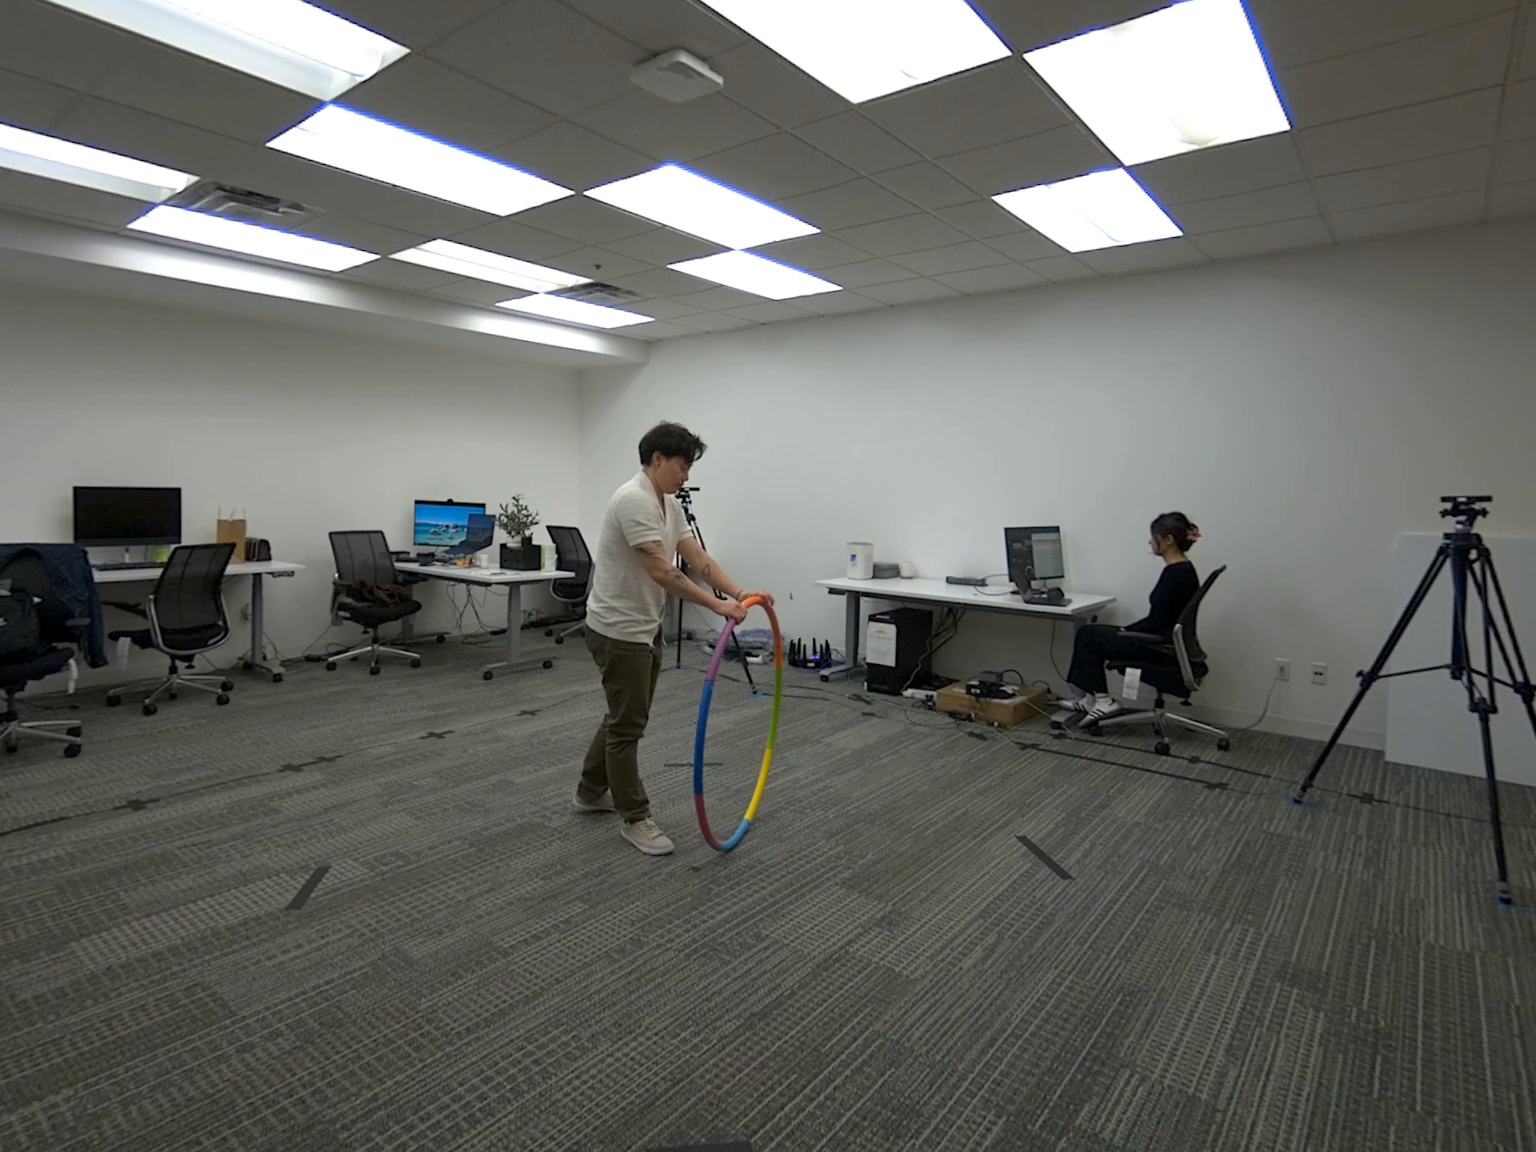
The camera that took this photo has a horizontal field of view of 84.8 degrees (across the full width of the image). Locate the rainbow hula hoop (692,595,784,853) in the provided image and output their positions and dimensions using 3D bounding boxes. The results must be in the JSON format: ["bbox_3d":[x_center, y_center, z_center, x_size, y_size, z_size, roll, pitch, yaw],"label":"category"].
[{"bbox_3d":[-0.102,0.564,3.323,0.036,0.975,0.962,5,5,17],"label":"rainbow hula hoop"}]
